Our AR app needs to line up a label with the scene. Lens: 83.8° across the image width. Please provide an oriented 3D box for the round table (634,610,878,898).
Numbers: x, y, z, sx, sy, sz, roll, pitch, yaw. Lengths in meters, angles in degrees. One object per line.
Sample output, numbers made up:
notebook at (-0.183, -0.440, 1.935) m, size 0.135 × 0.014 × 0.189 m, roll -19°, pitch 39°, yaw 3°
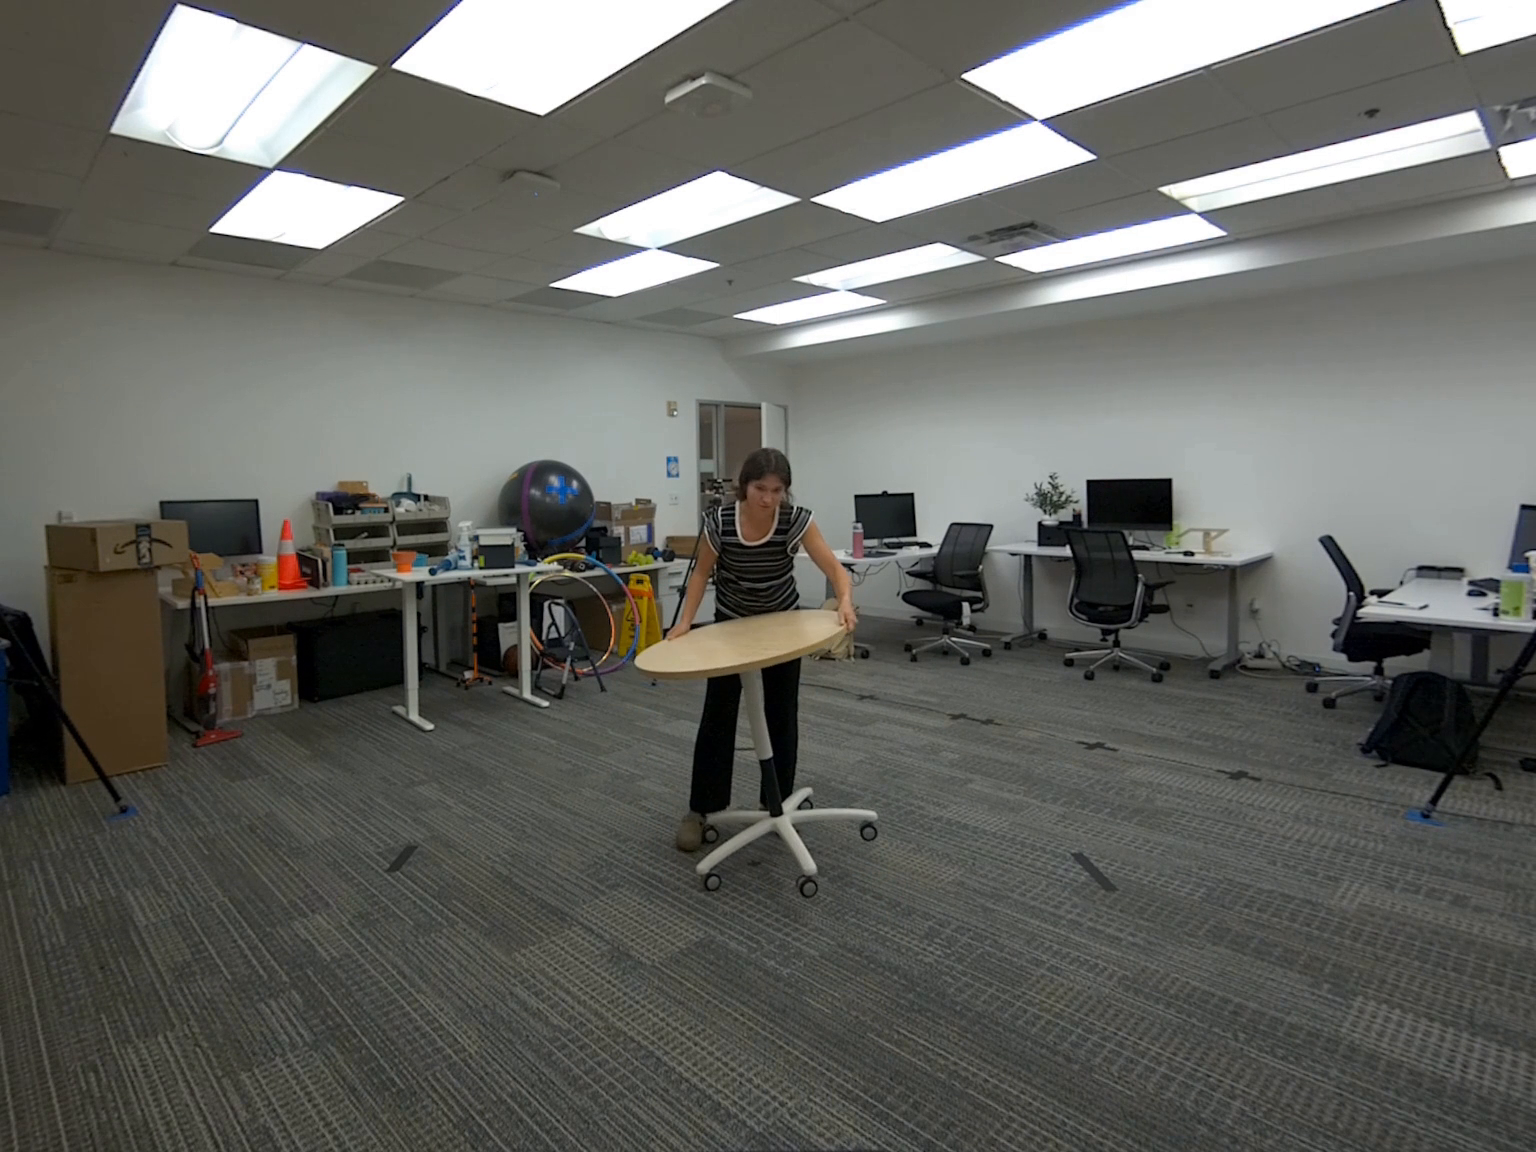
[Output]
round table at (-0.020, 0.614, 3.035) m, size 0.764 × 0.790 × 0.768 m, roll -11°, pitch 6°, yaw -1°
